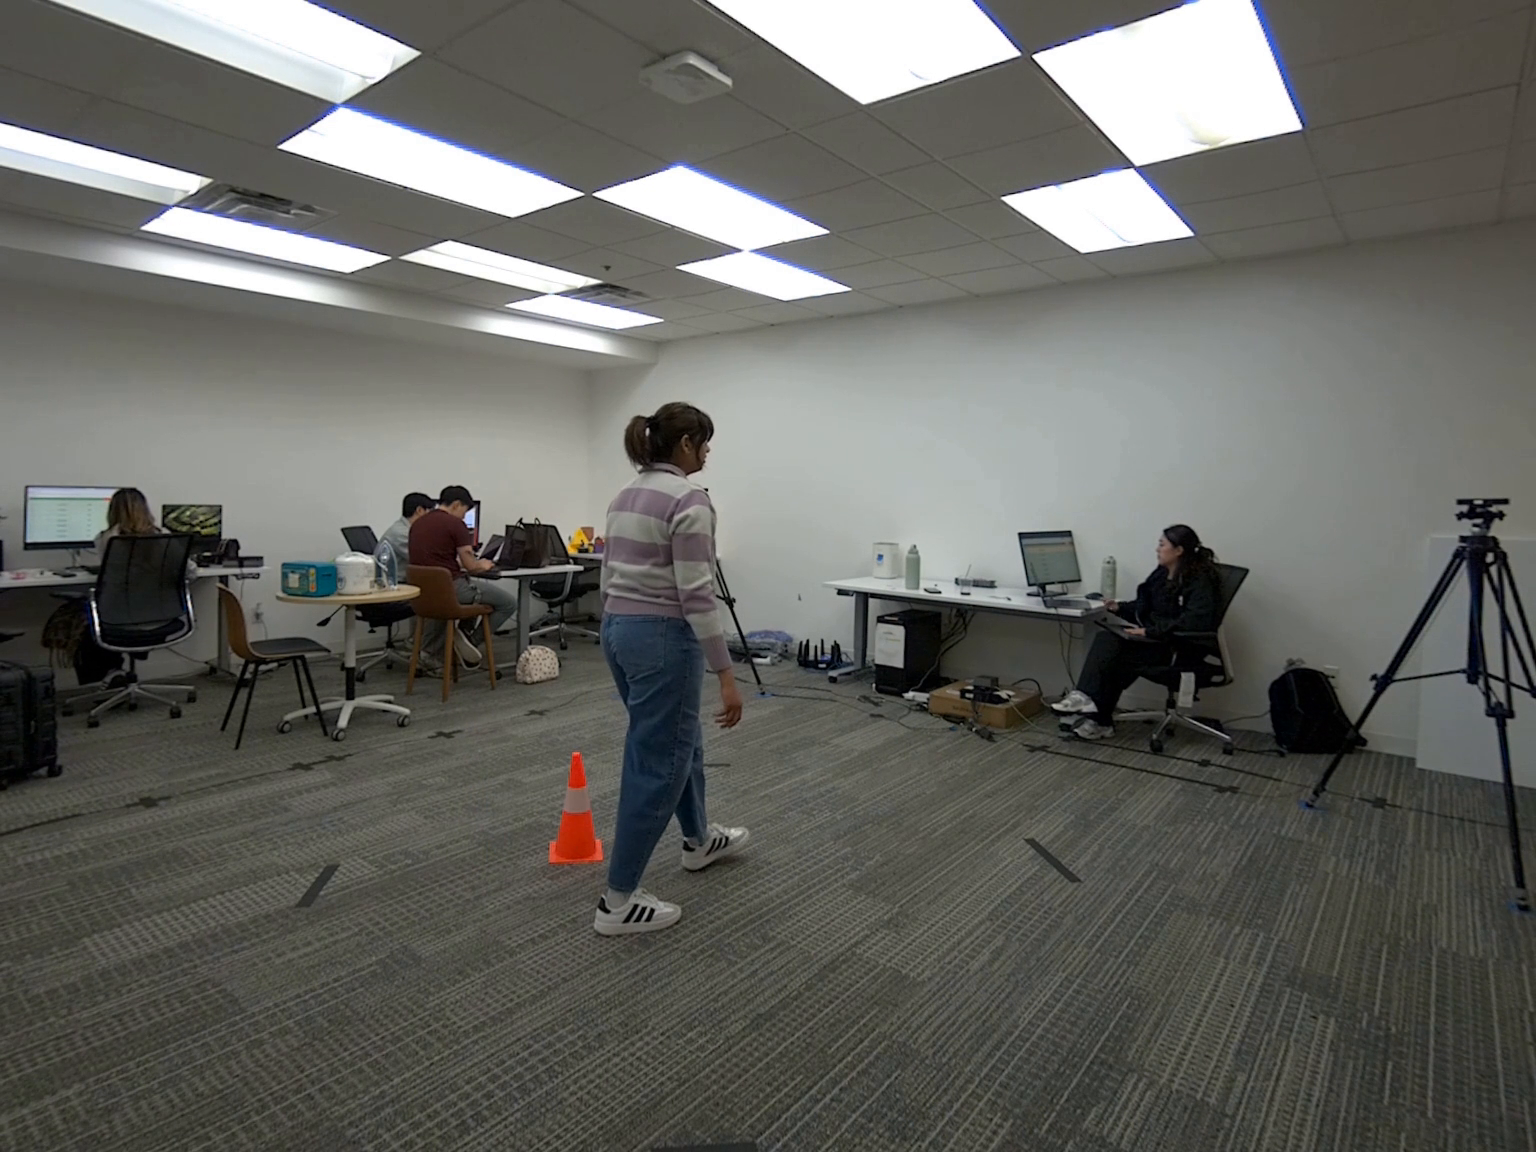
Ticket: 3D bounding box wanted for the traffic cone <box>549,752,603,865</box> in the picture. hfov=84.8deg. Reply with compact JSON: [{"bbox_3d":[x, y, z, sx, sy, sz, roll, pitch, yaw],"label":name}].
[{"bbox_3d":[-0.738,0.861,3.237,0.200,0.383,0.208,2,2,-14],"label":"traffic cone"}]
